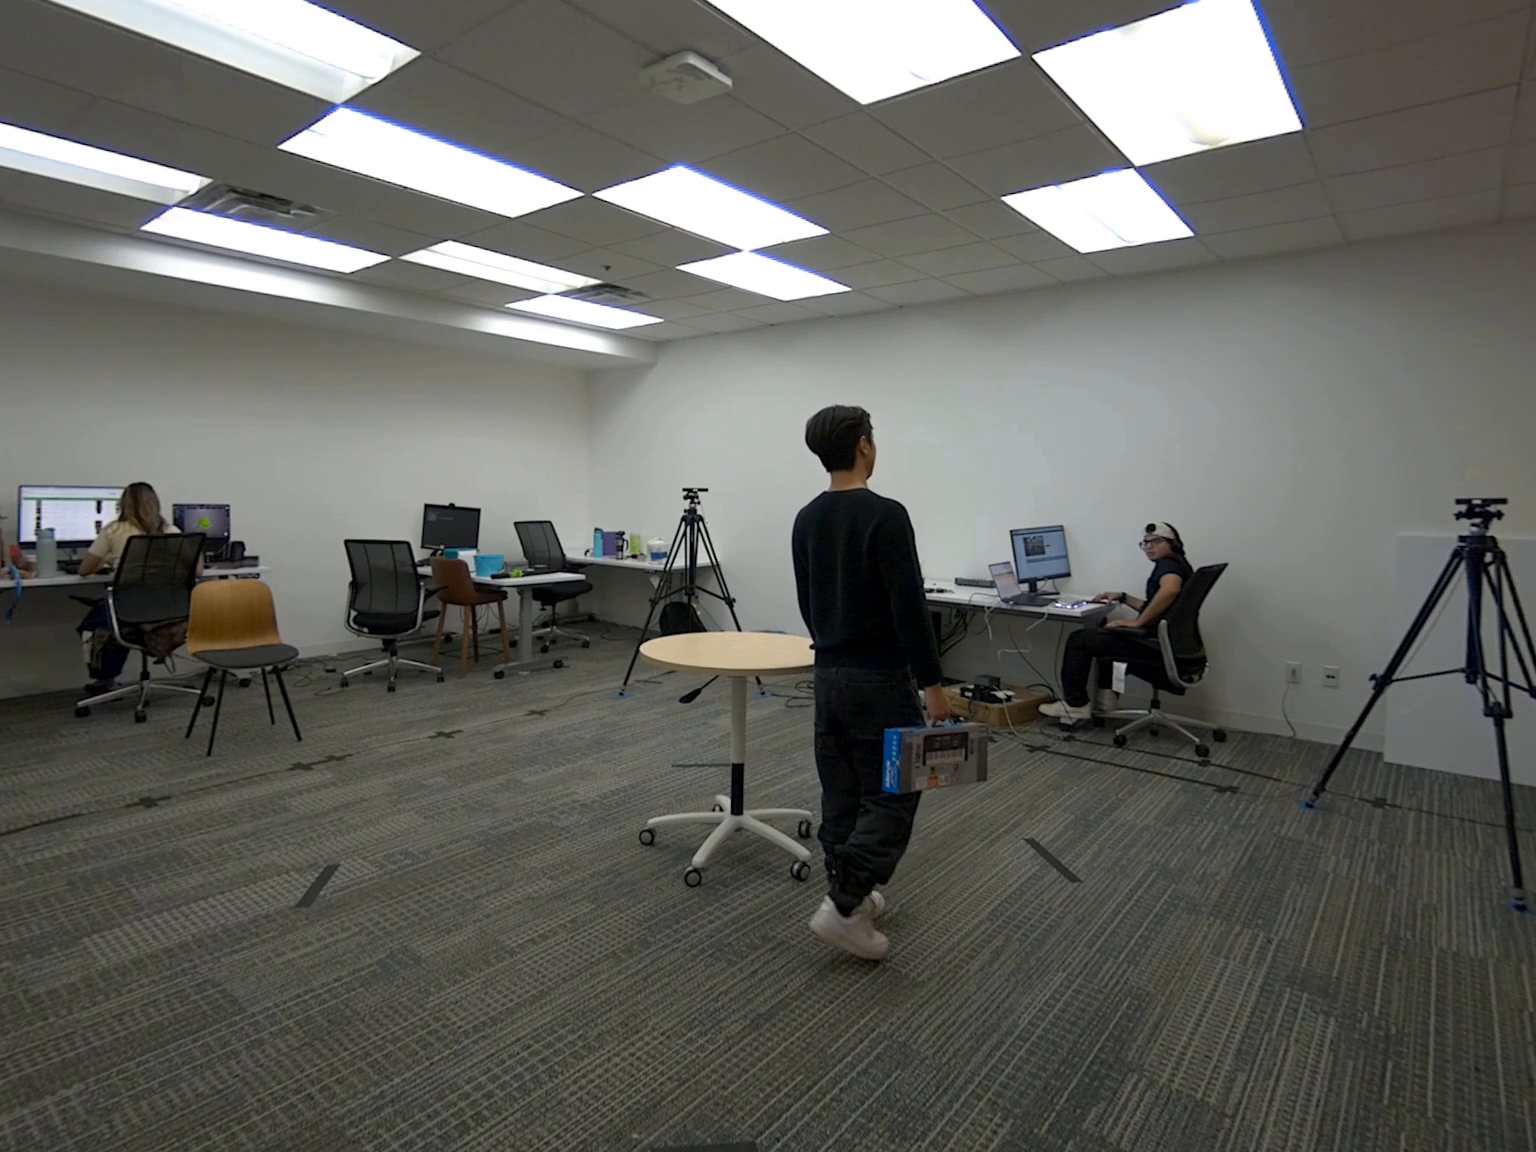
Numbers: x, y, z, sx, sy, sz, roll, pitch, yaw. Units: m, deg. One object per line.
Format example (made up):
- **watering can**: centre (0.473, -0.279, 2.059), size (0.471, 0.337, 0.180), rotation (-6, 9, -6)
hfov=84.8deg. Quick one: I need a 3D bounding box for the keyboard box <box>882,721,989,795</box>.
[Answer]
- **keyboard box**: centre (0.495, 0.530, 2.513), size (0.422, 0.177, 0.061), rotation (6, -5, -41)
